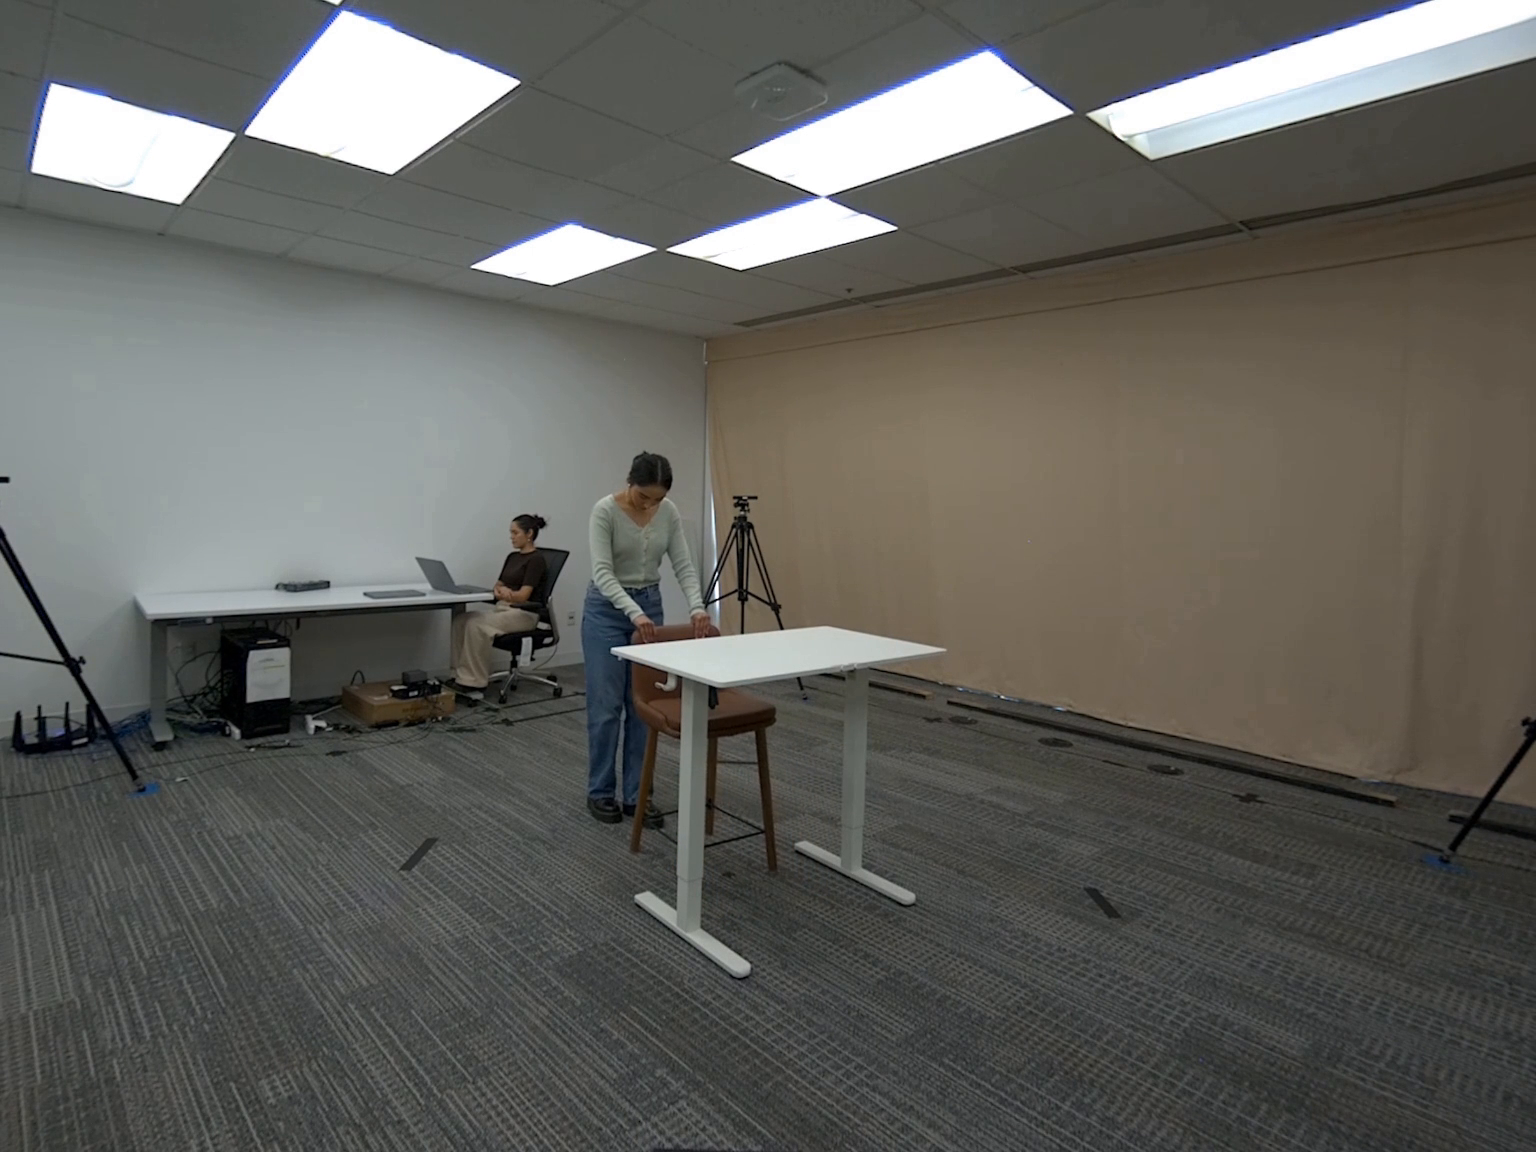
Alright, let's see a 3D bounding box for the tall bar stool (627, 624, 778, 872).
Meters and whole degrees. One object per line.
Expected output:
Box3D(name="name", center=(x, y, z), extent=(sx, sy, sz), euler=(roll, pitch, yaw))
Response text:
Box3D(name="tall bar stool", center=(-0.261, 0.653, 3.199), extent=(0.446, 0.889, 0.478), euler=(-1, 1, -35))
